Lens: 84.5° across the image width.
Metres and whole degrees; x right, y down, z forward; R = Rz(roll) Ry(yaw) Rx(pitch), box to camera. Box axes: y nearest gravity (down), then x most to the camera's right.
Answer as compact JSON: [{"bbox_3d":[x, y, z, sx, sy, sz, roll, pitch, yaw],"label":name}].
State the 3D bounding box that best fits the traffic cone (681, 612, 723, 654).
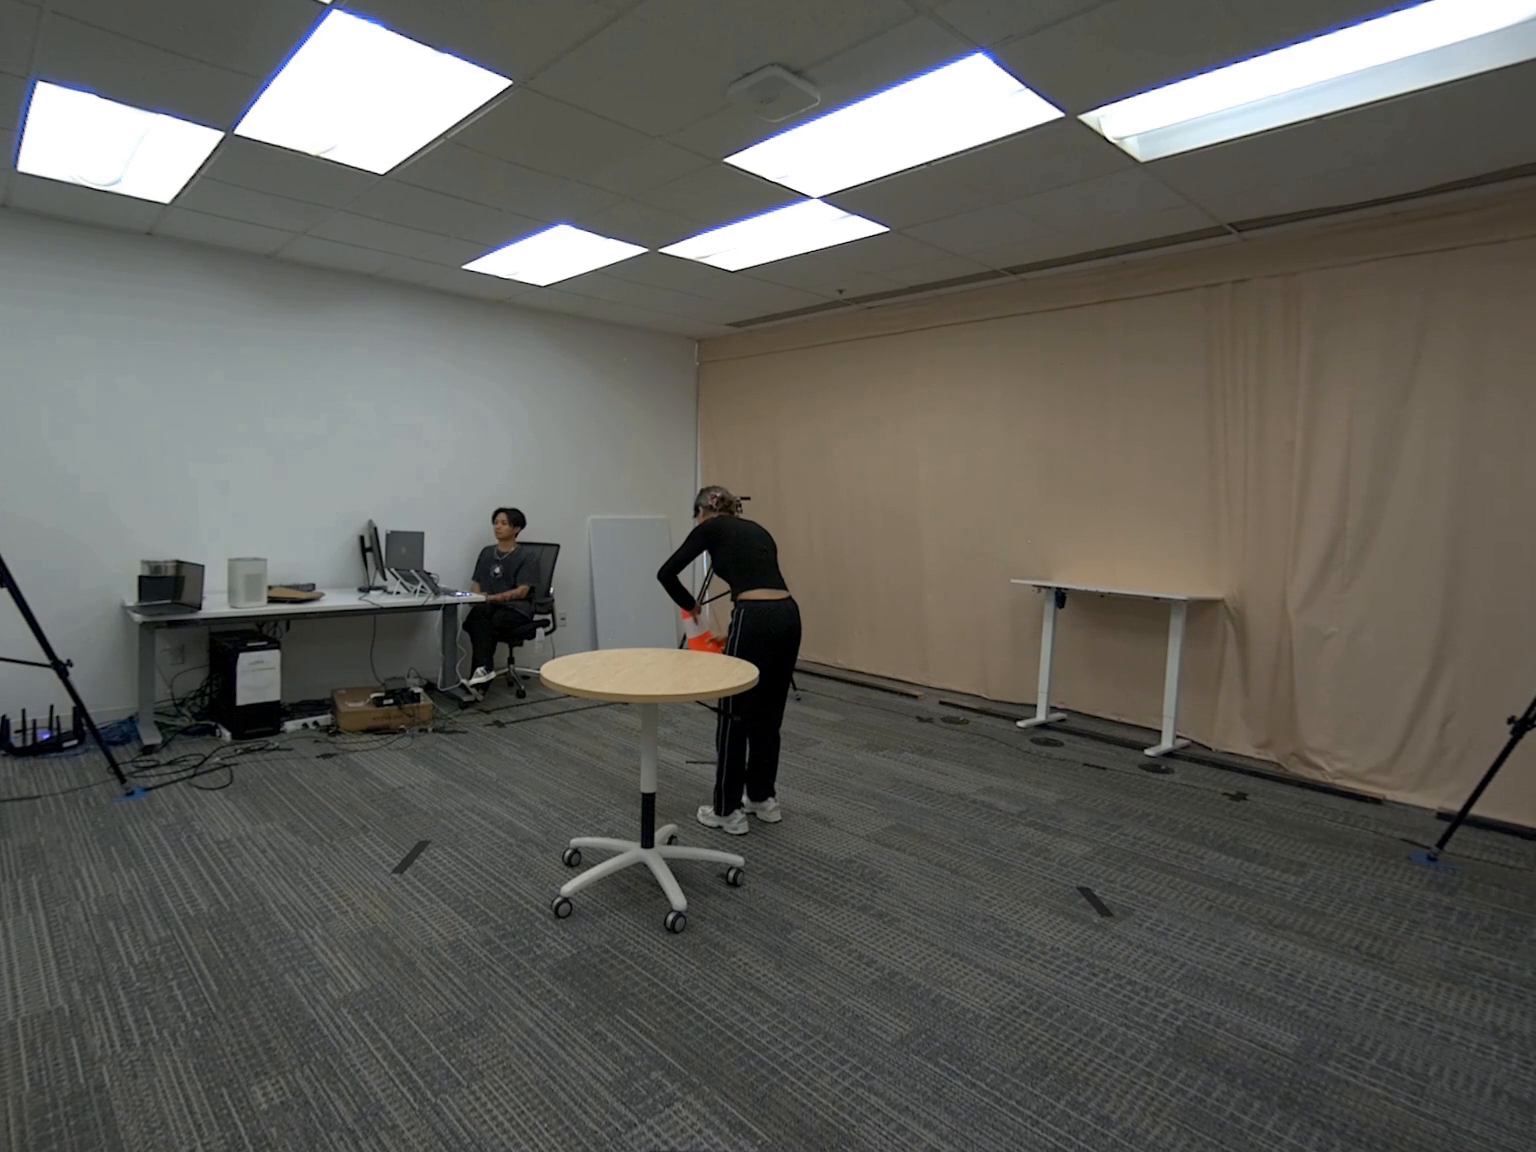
[{"bbox_3d":[-0.336,0.257,3.891,0.202,0.382,0.207,-17,6,-14],"label":"traffic cone"}]
